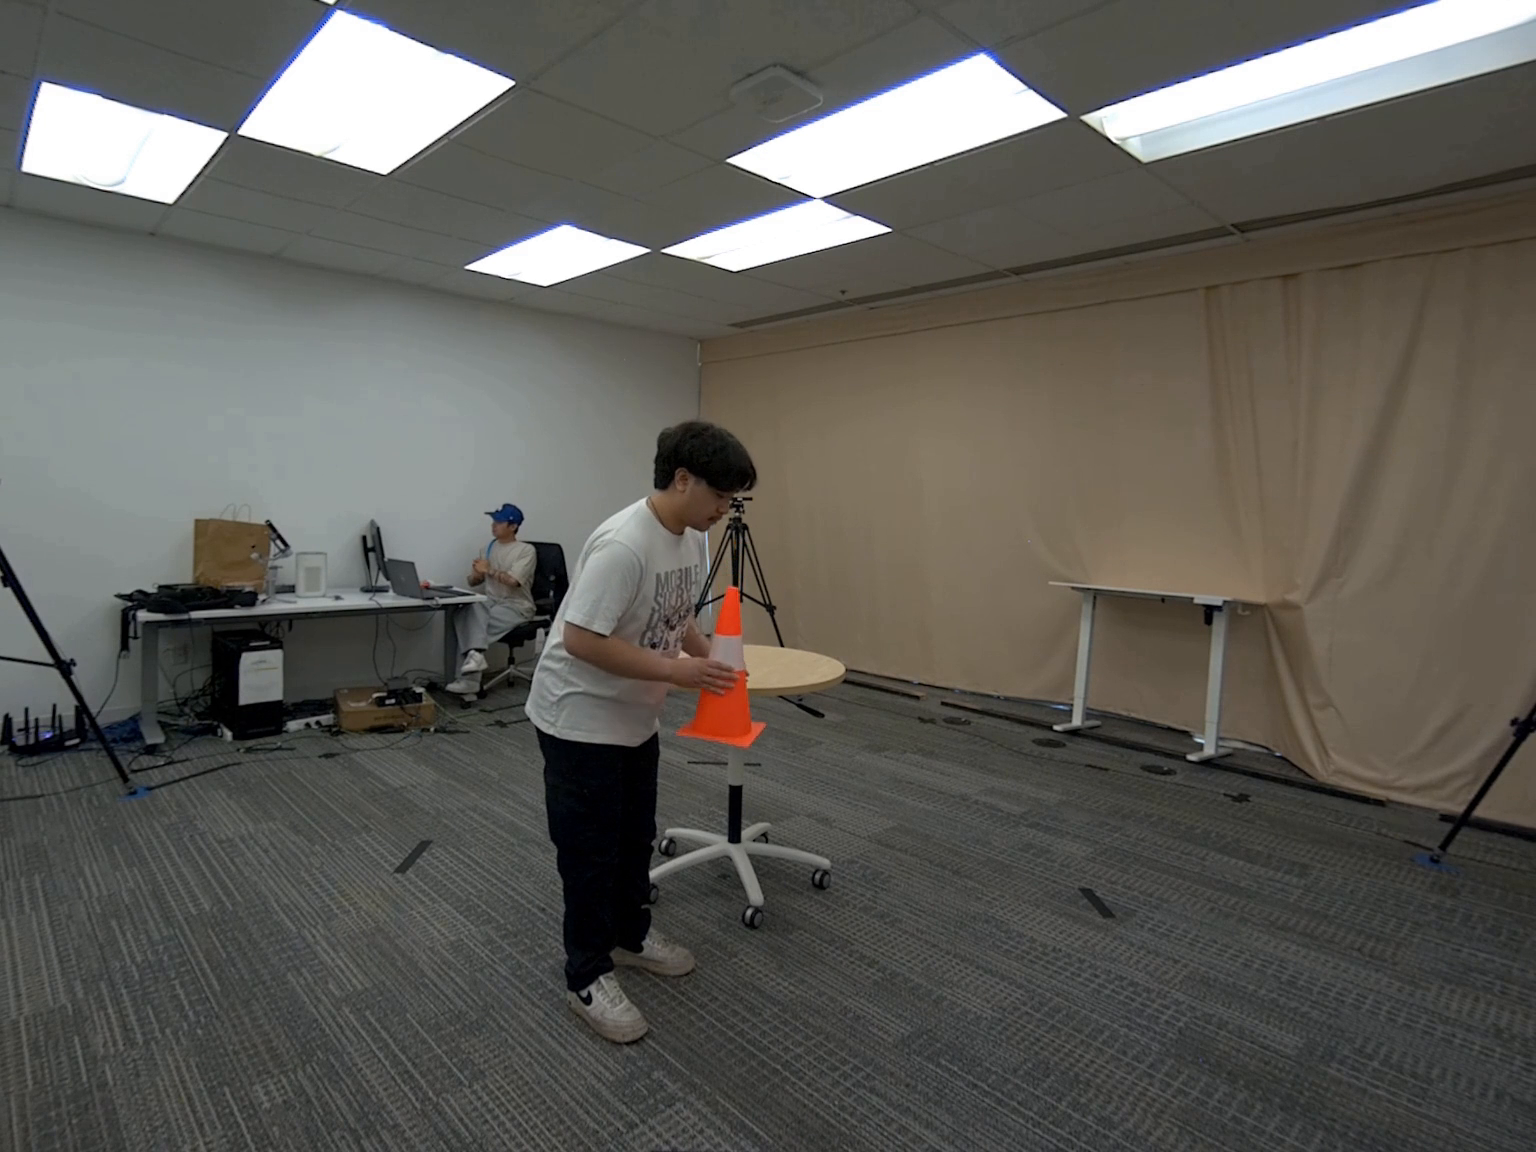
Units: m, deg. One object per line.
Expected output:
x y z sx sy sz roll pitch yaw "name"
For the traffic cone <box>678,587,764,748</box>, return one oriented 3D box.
-0.120 0.229 2.190 0.208 0.383 0.200 5 4 19 "traffic cone"
